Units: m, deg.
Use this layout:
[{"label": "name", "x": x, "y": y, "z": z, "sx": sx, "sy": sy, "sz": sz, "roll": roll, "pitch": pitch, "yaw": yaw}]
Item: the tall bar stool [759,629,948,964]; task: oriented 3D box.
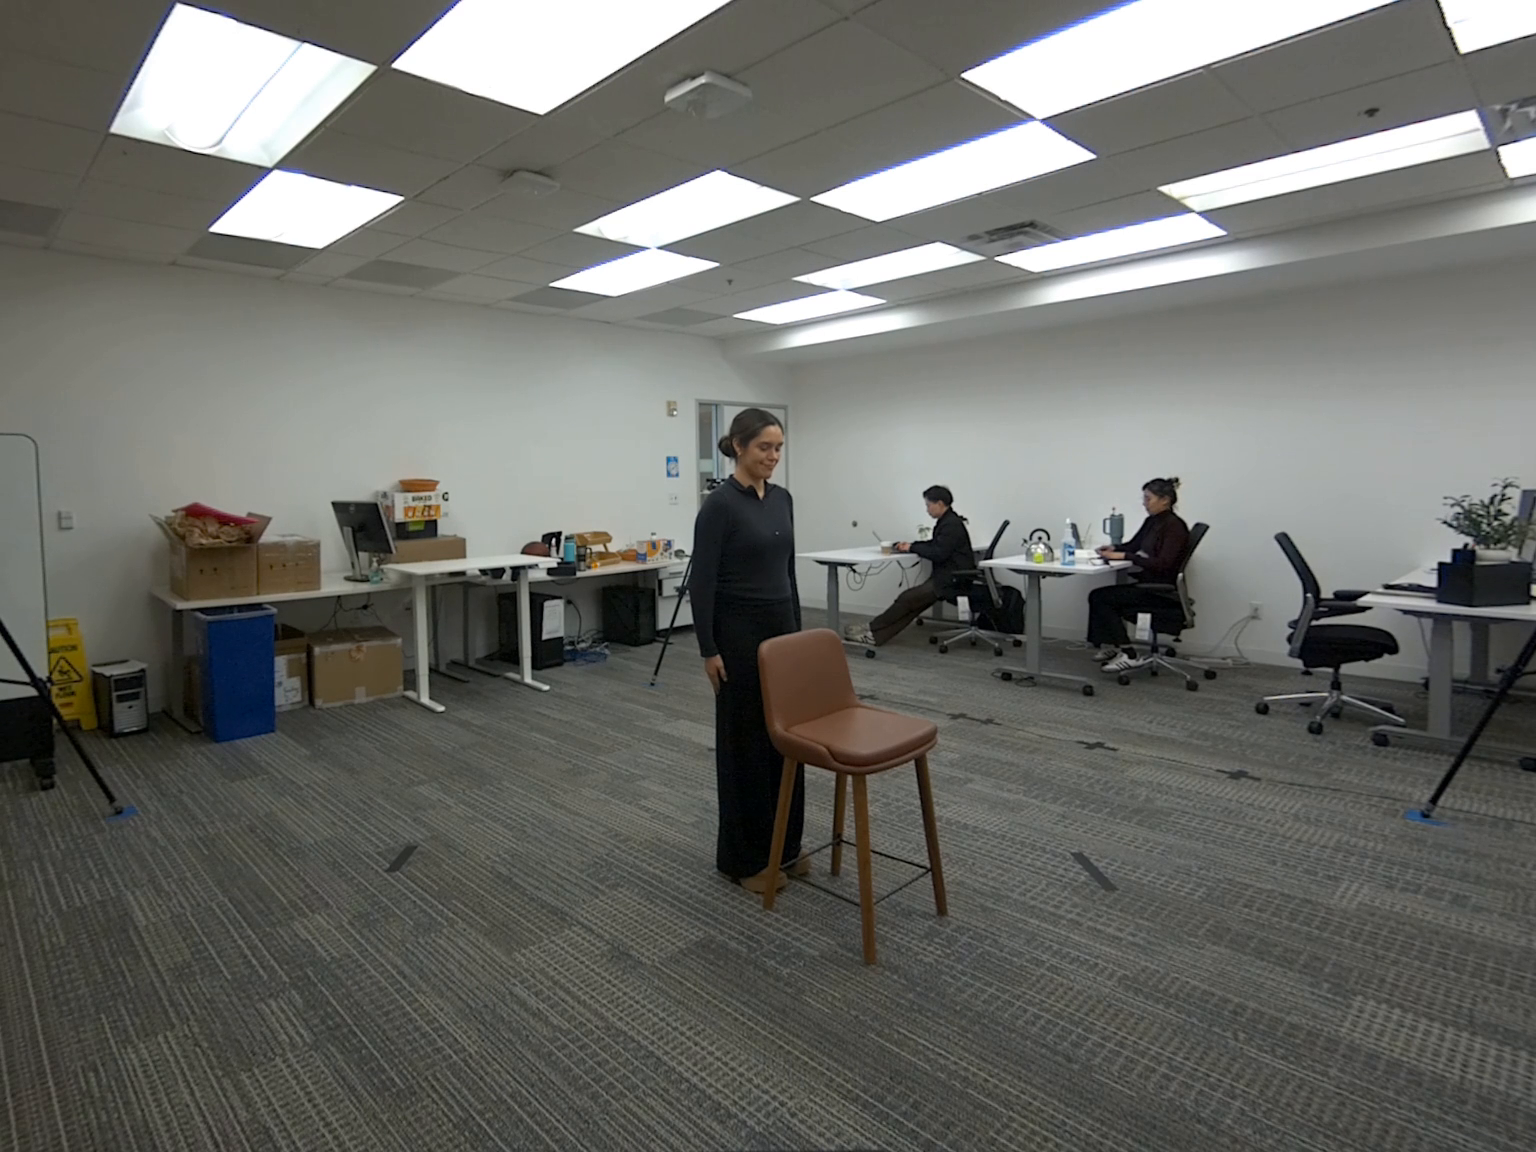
[{"label": "tall bar stool", "x": 0.261, "y": 0.643, "z": 2.721, "sx": 0.444, "sy": 0.888, "sz": 0.481, "roll": -5, "pitch": 3, "yaw": -44}]
